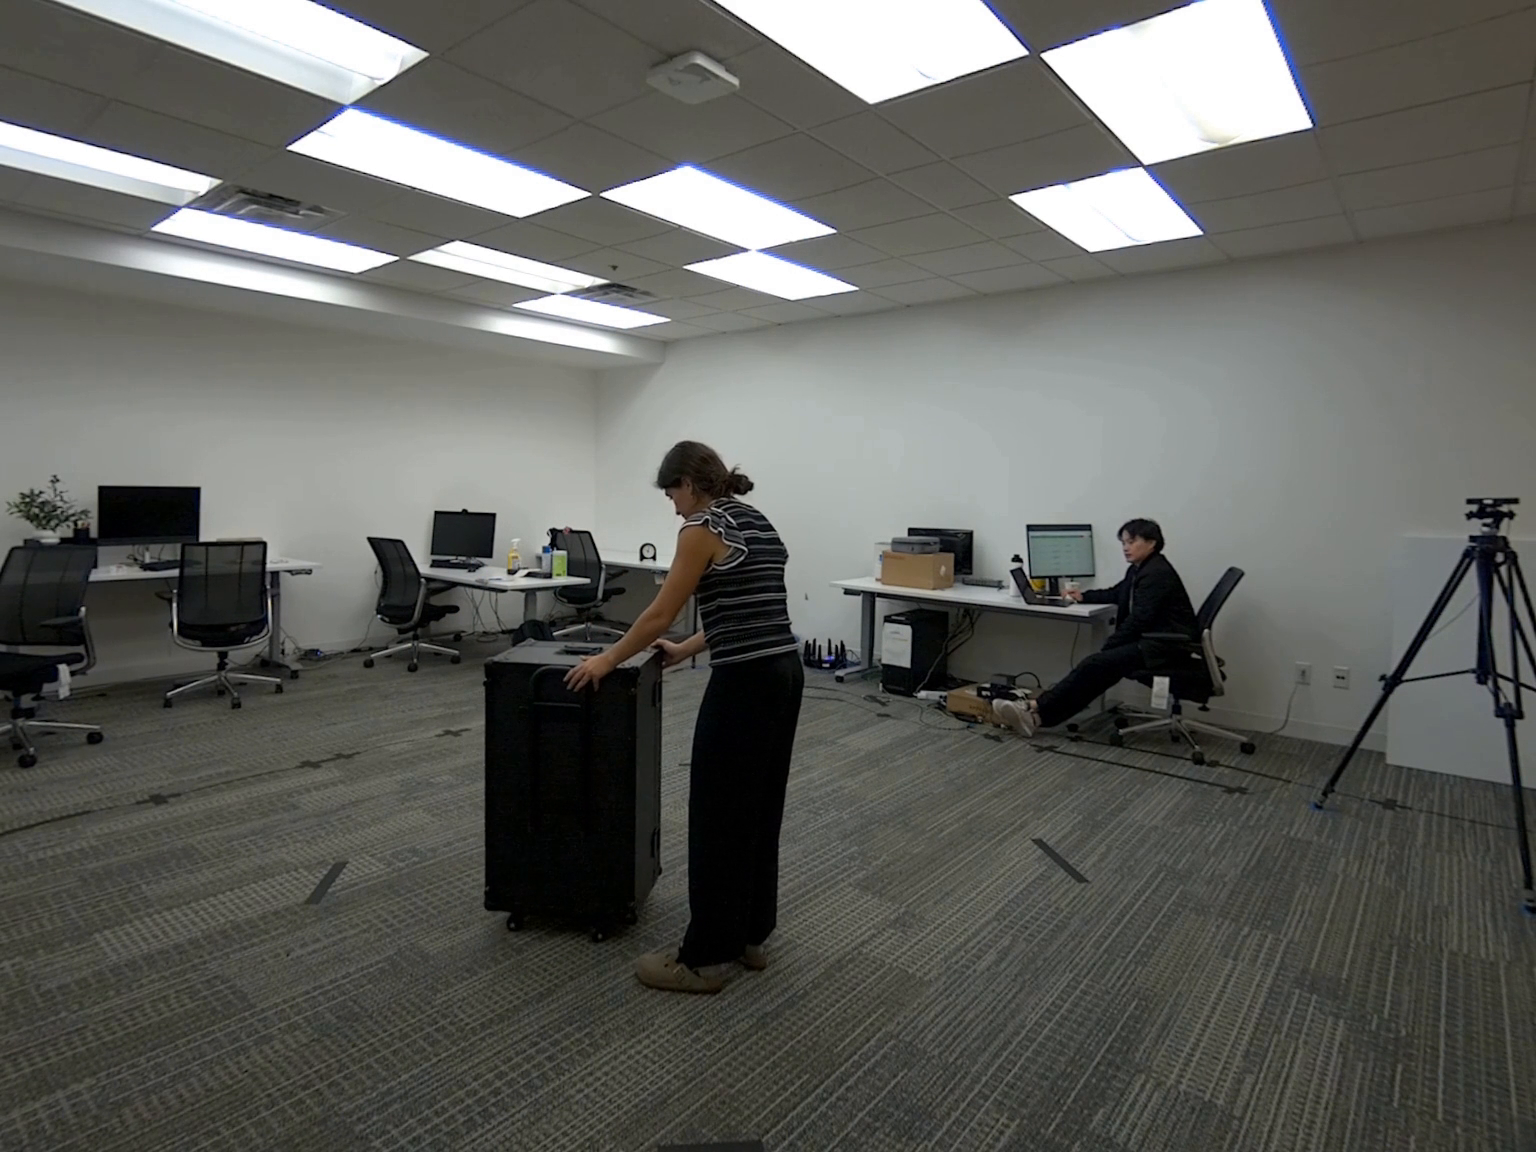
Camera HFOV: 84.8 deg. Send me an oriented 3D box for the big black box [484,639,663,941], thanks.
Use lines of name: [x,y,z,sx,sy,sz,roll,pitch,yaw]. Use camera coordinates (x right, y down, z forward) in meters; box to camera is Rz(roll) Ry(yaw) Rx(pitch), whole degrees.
big black box: [-0.630,0.676,2.741,0.527,0.859,0.393,2,4,9]
